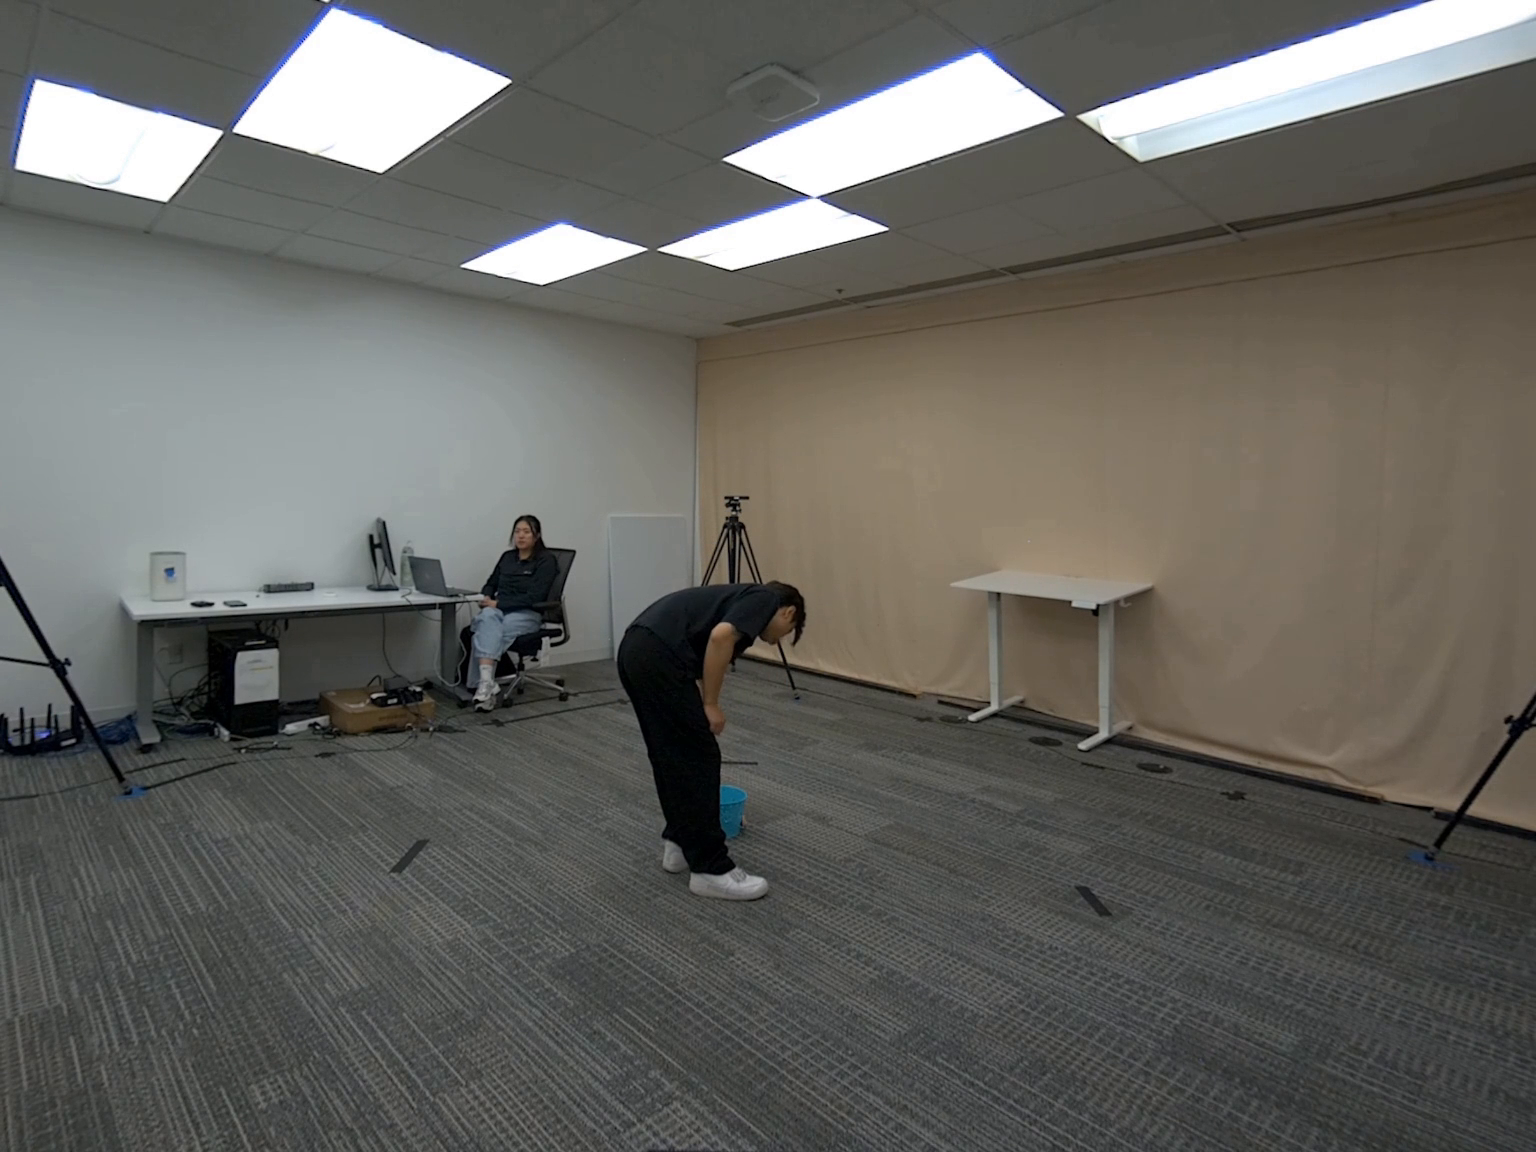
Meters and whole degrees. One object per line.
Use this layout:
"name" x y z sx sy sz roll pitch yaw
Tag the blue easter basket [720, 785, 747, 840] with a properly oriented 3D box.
"blue easter basket" -0.218 0.989 3.532 0.243 0.155 0.244 1 4 -1
